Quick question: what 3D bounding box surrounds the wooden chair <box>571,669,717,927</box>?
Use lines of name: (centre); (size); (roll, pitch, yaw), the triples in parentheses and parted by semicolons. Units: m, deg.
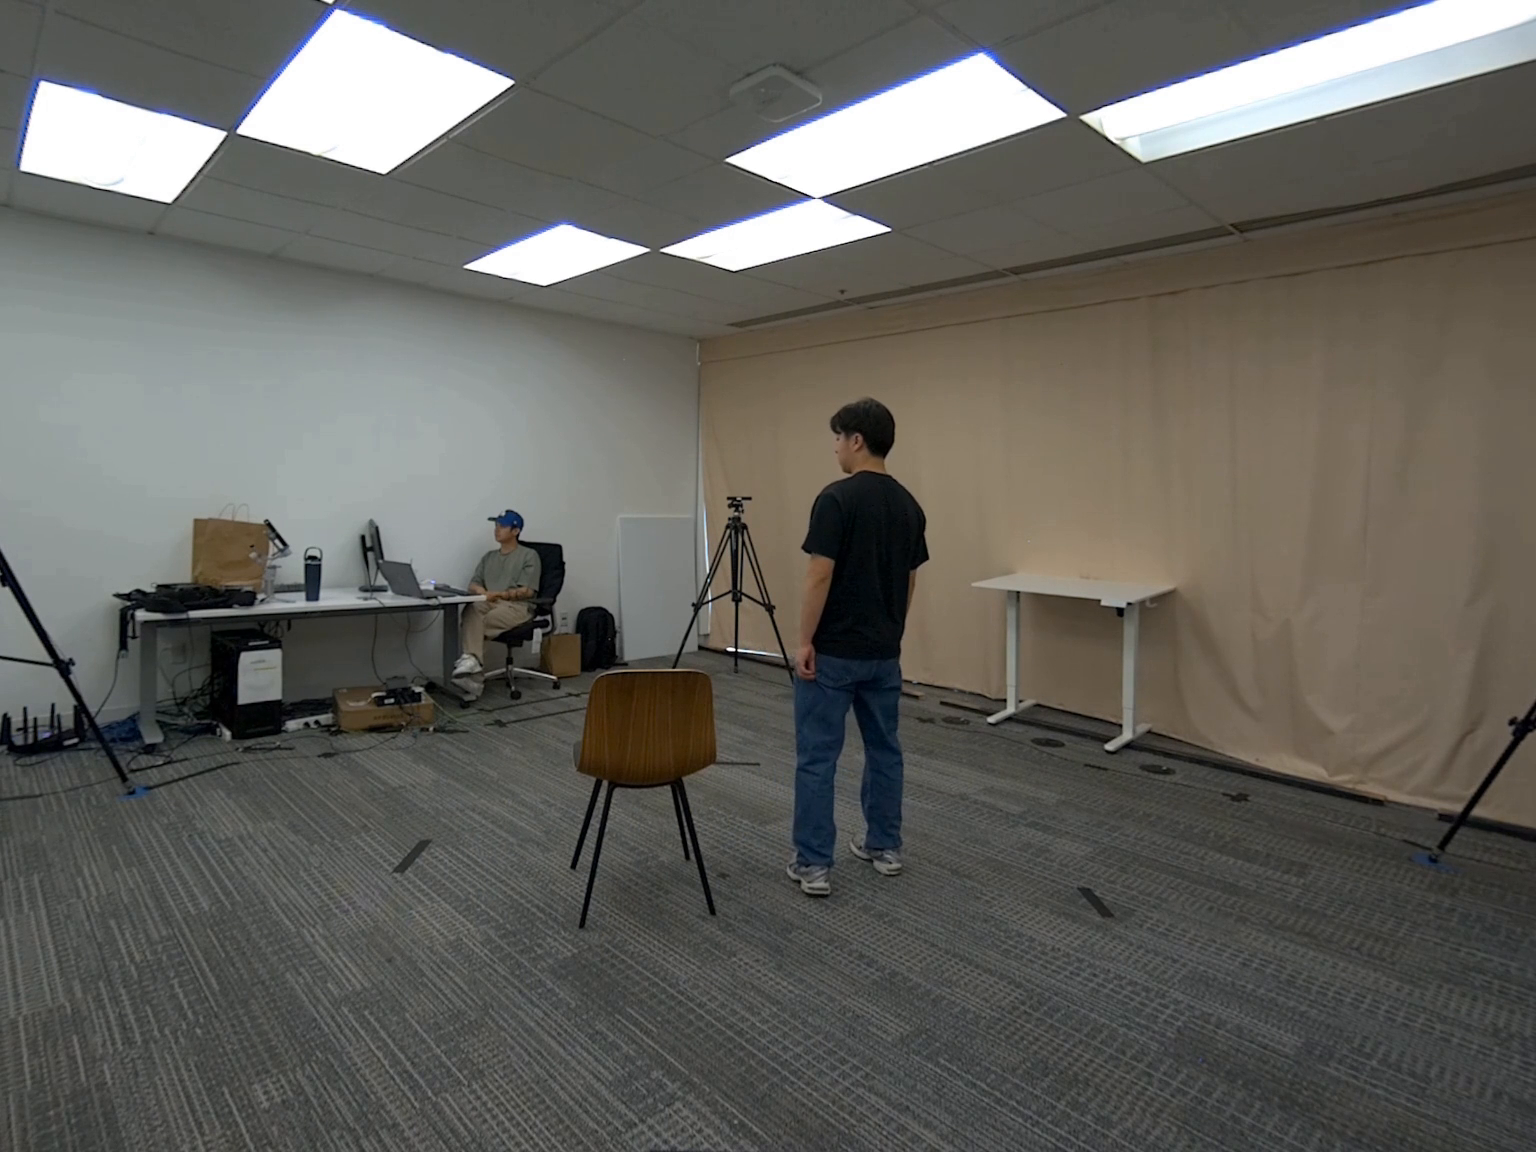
wooden chair: (-0.443, 0.688, 2.941); (0.472, 0.873, 0.532); (1, 8, -16)
